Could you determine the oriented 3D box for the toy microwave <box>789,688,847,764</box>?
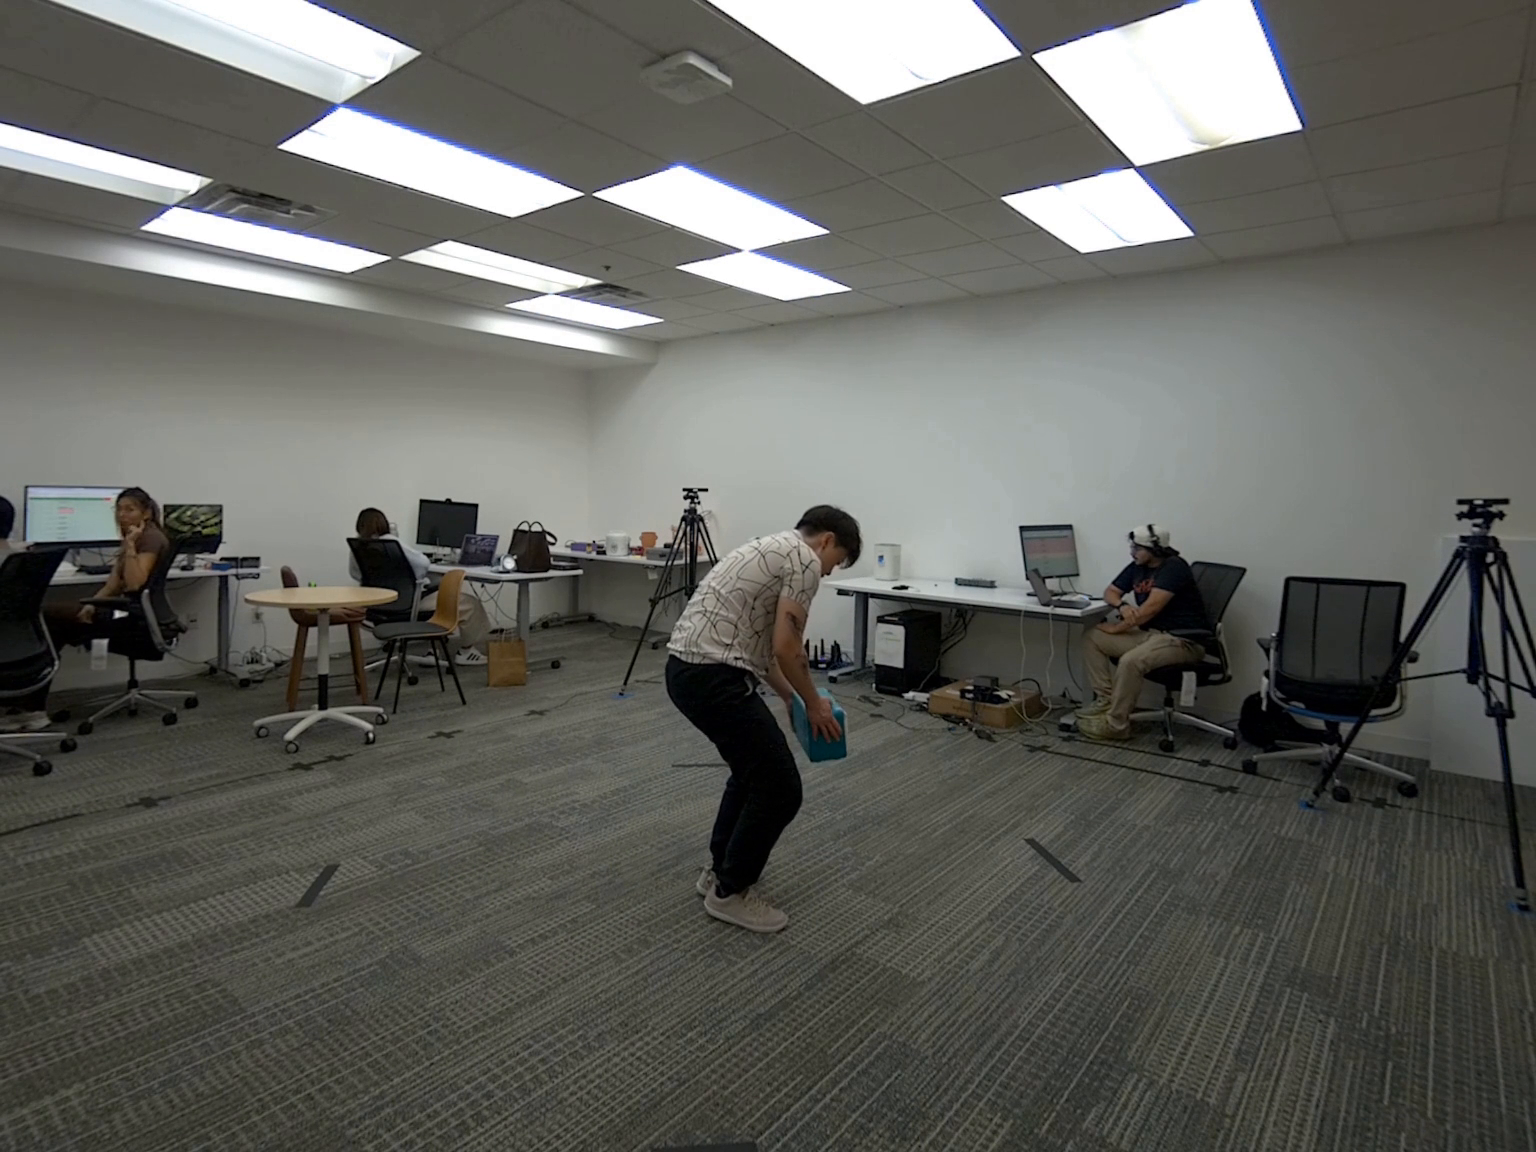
[{"bbox_3d":[0.177,0.522,2.995,0.151,0.182,0.291,-7,10,-9],"label":"toy microwave"}]
